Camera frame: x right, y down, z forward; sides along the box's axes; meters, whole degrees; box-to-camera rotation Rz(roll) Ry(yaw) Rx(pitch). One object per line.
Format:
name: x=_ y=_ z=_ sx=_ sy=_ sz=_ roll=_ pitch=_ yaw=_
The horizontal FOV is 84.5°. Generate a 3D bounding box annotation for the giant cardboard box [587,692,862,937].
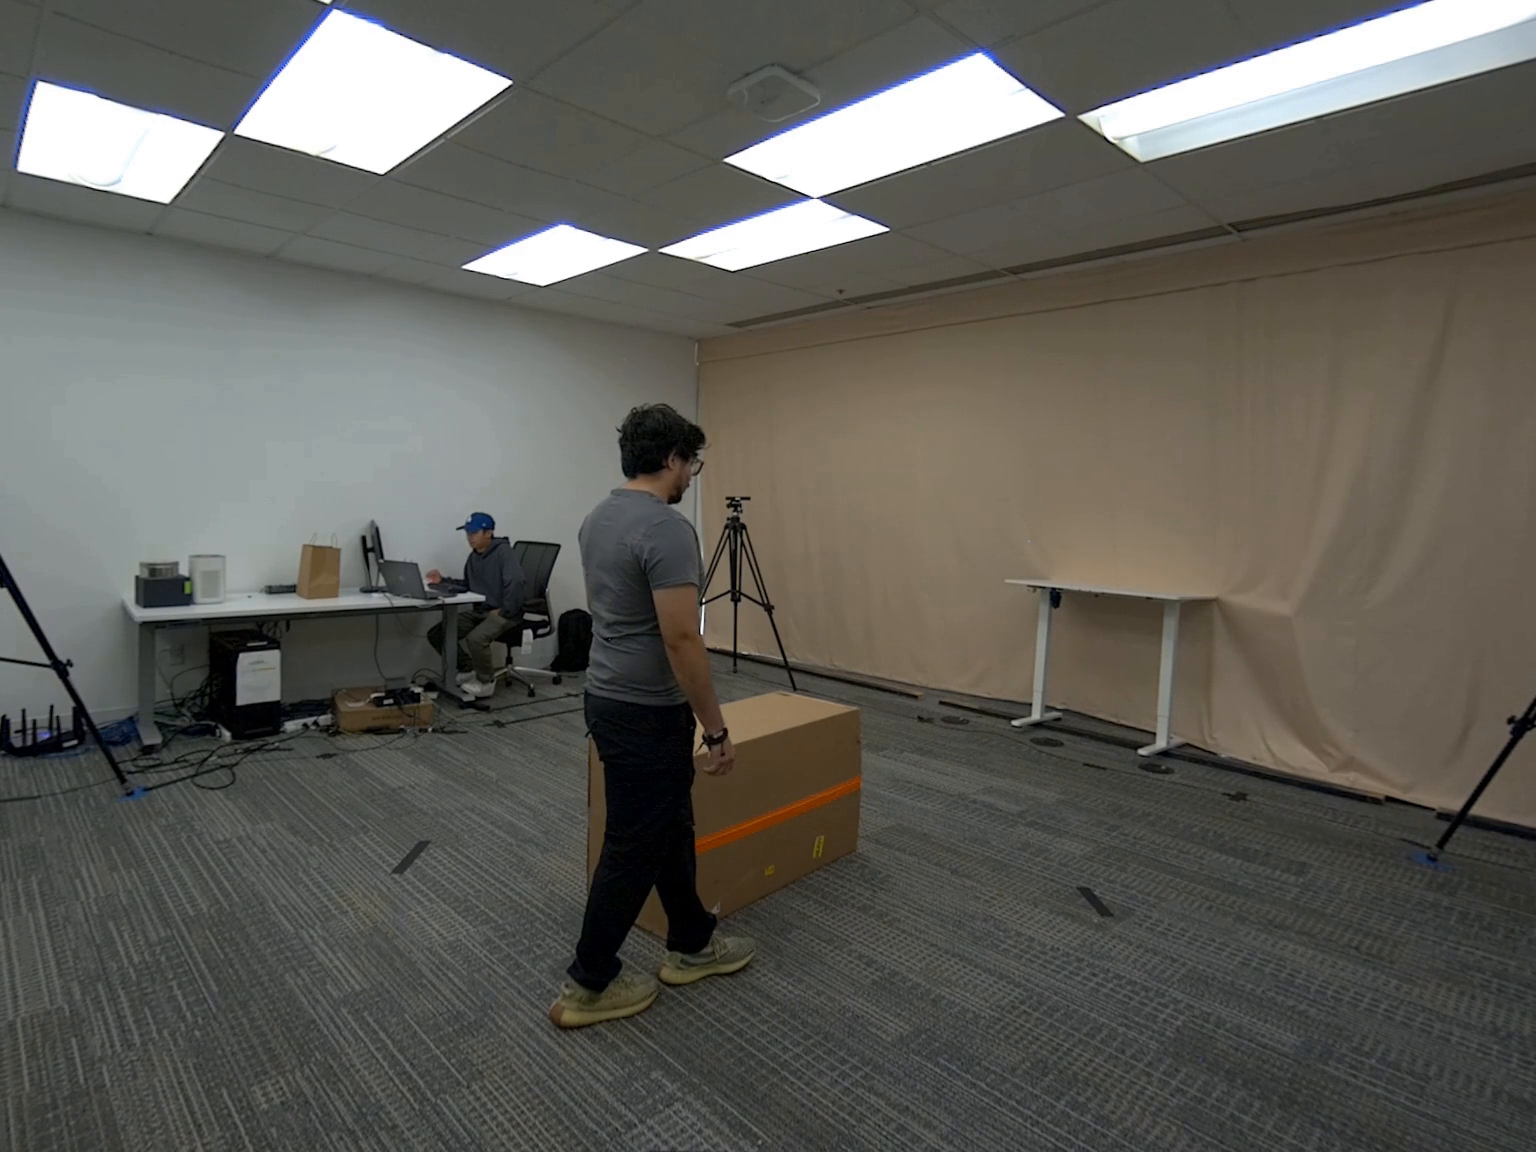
giant cardboard box: x=-0.127 y=0.815 z=3.108 sx=0.437 sy=0.576 sz=1.003 roll=5 pitch=6 yaw=41
